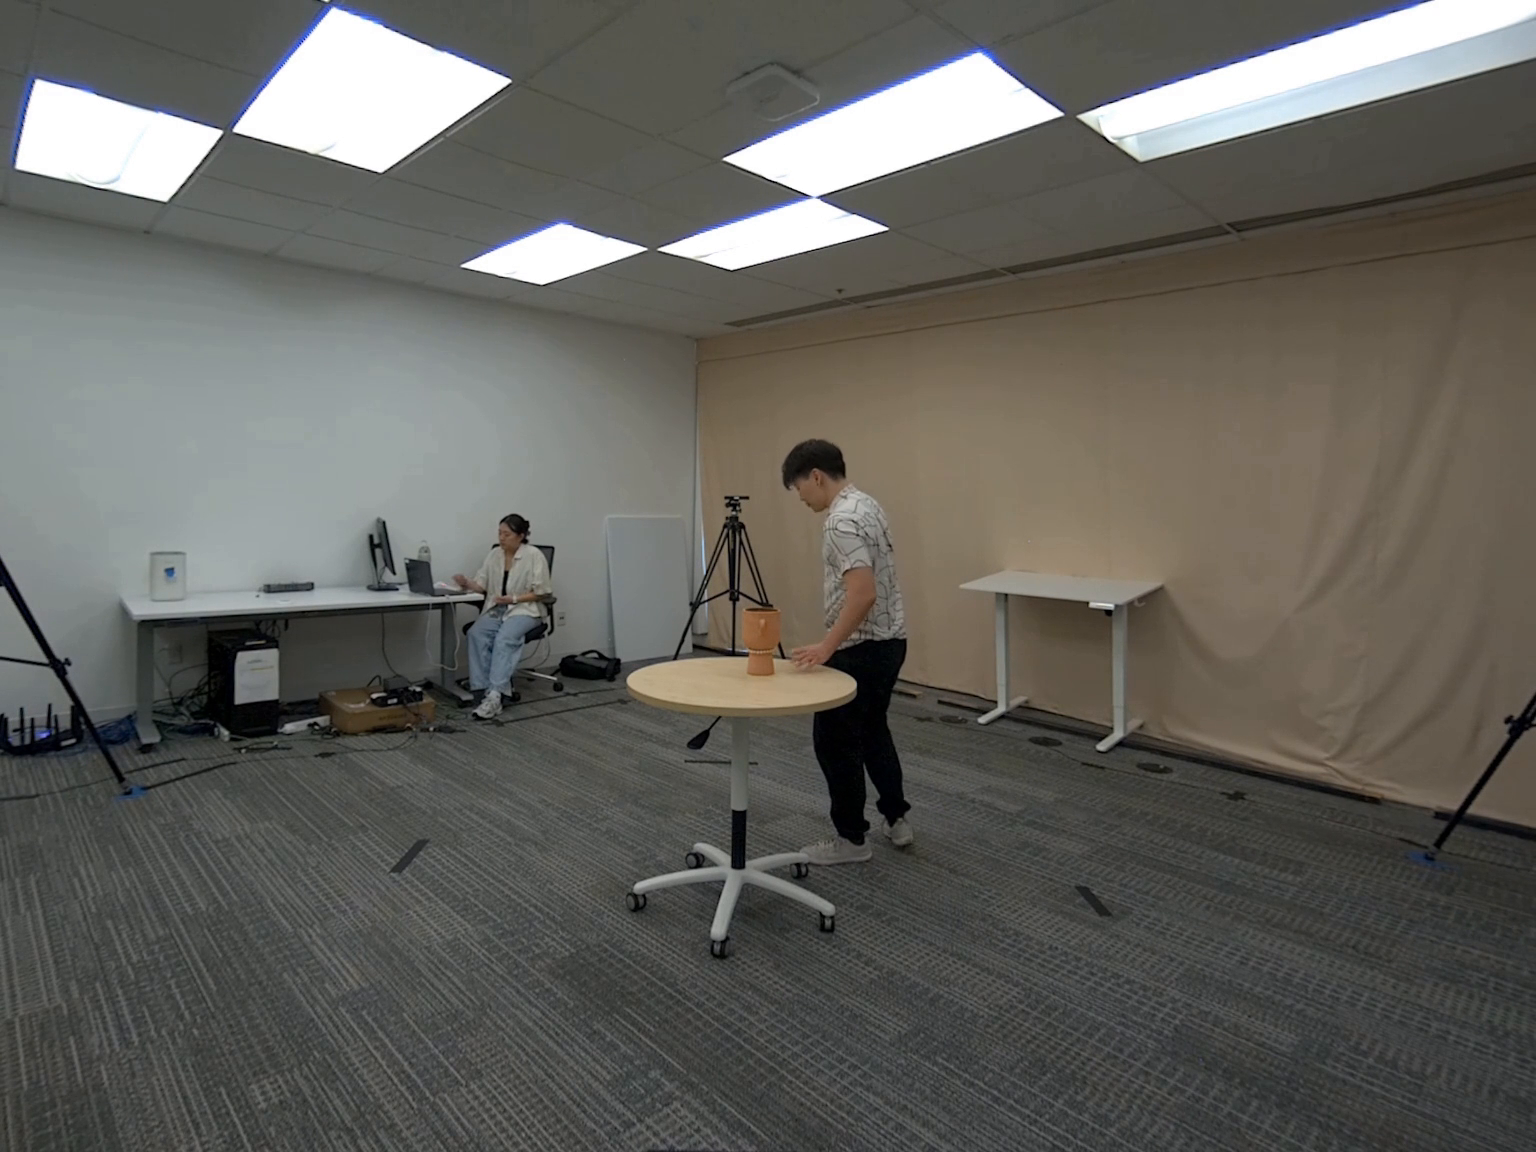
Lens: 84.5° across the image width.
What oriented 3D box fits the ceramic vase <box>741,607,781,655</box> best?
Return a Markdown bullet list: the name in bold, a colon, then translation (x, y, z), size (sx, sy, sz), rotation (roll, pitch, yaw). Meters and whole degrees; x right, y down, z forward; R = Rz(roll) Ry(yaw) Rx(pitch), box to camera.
- **ceramic vase**: translation (-0.027, 0.229, 2.911), size (0.138, 0.219, 0.155), rotation (6, 6, 36)
